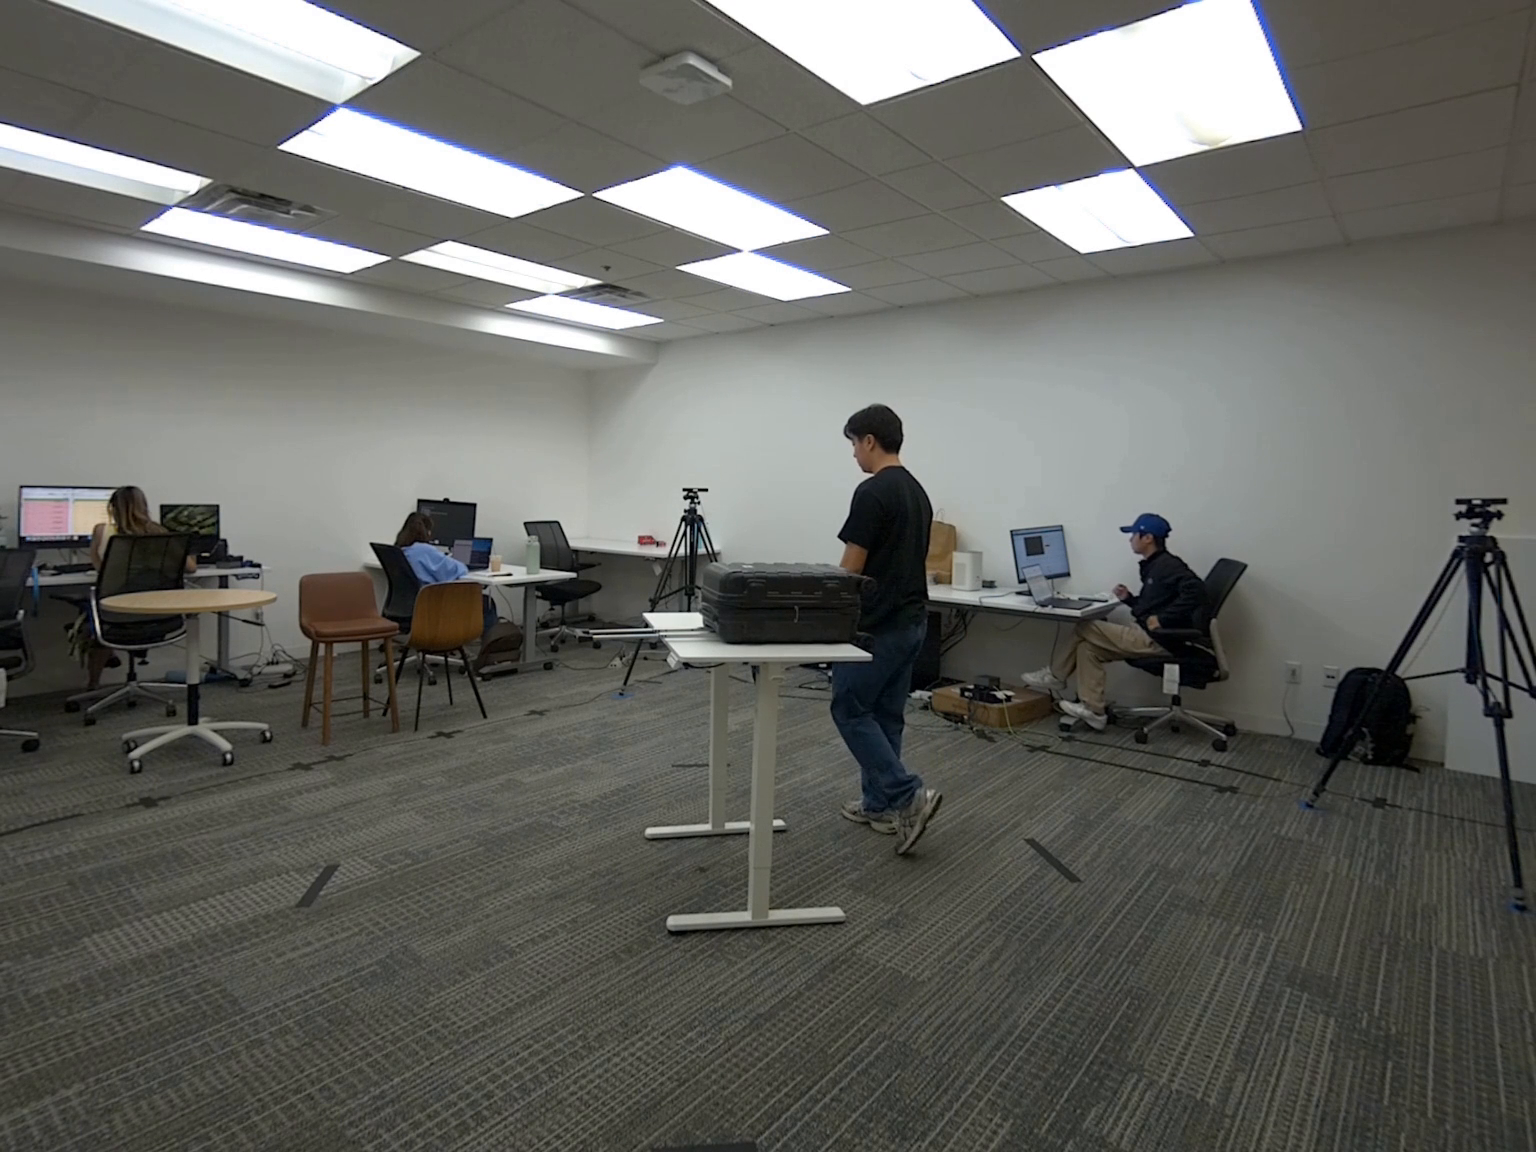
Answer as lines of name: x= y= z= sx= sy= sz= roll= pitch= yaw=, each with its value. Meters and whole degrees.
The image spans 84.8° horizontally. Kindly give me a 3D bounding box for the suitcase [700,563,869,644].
suitcase: x=-0.156 y=0.084 z=2.891 sx=0.964 sy=0.256 sz=0.391 roll=2 pitch=4 yaw=-13
